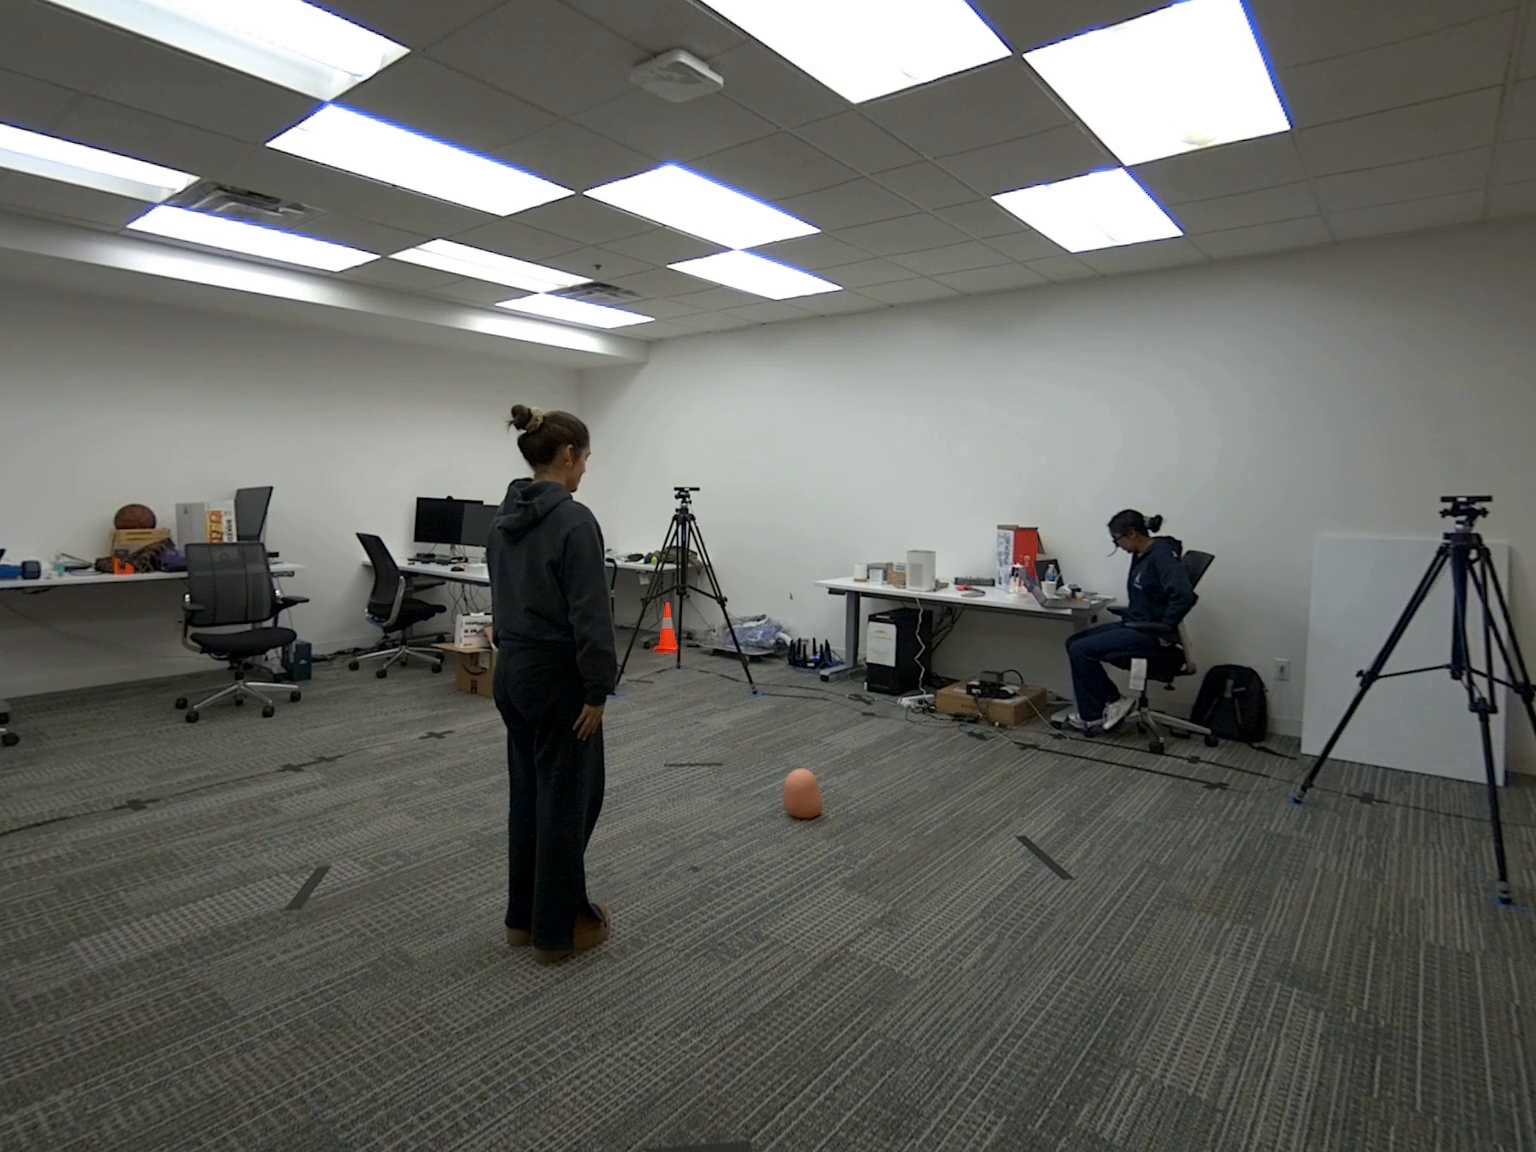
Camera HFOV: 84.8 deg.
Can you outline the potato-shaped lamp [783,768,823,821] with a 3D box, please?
[{"bbox_3d":[0.147,0.922,3.640,0.170,0.197,0.166,6,7,43],"label":"potato-shaped lamp"}]
